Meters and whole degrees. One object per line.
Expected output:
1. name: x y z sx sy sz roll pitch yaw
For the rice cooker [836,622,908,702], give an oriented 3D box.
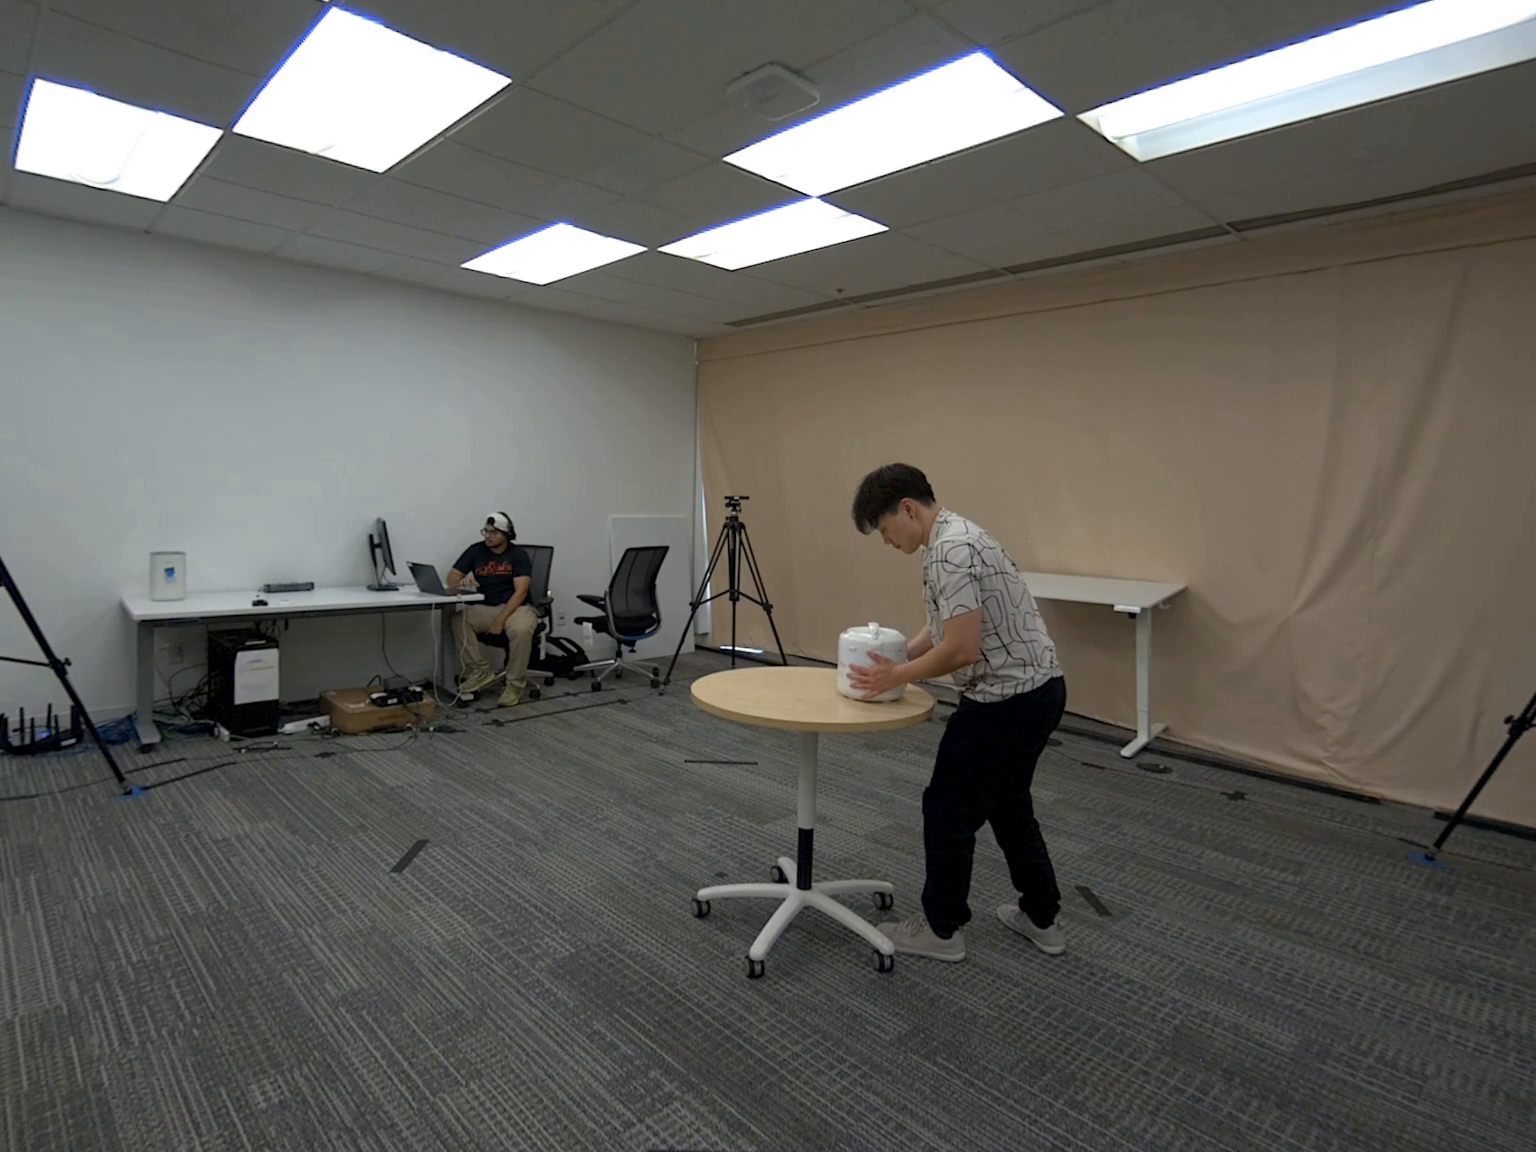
1. rice cooker: 0.325 0.262 2.632 0.218 0.232 0.220 2 5 5
